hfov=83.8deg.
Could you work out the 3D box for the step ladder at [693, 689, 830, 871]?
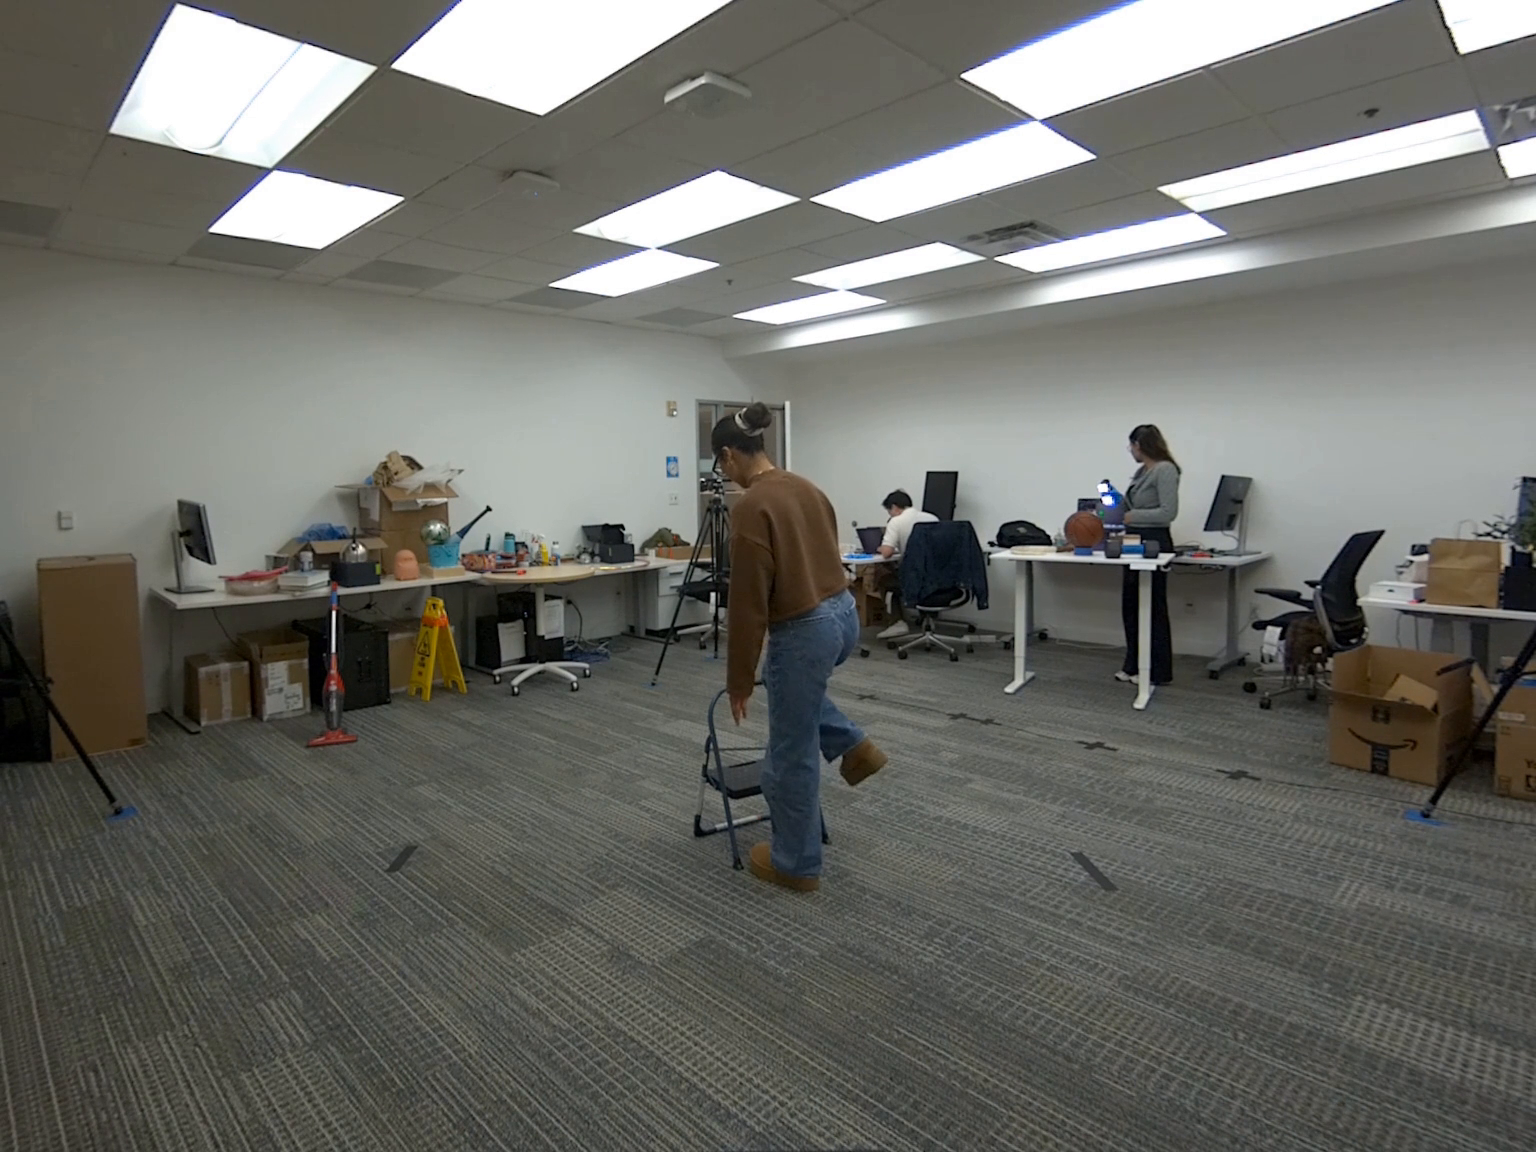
[{"bbox_3d":[-0.030,0.719,3.288,0.420,0.604,0.359,-4,5,-33],"label":"step ladder"}]
